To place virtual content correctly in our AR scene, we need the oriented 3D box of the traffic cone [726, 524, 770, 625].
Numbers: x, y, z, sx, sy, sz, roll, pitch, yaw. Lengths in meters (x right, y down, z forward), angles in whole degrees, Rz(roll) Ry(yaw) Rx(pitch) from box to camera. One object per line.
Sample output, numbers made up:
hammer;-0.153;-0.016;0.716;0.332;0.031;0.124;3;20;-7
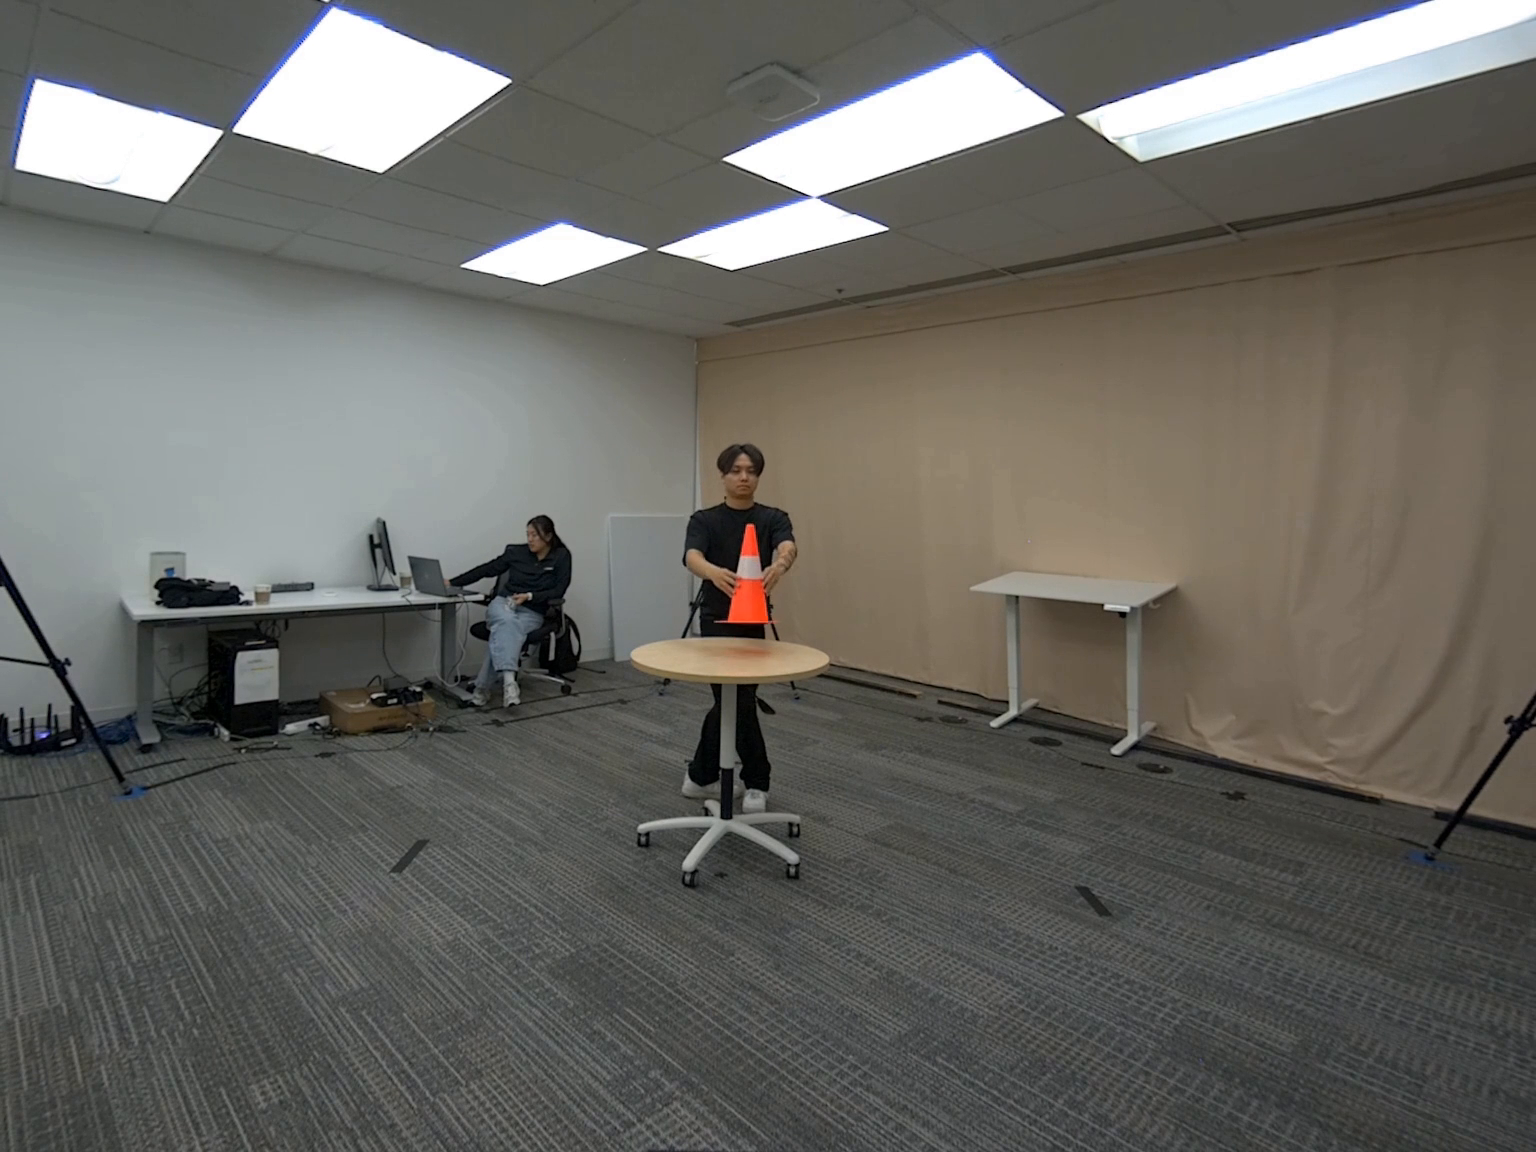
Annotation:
traffic cone;-0.083;-0.015;3.295;0.209;0.384;0.199;1;0;27
